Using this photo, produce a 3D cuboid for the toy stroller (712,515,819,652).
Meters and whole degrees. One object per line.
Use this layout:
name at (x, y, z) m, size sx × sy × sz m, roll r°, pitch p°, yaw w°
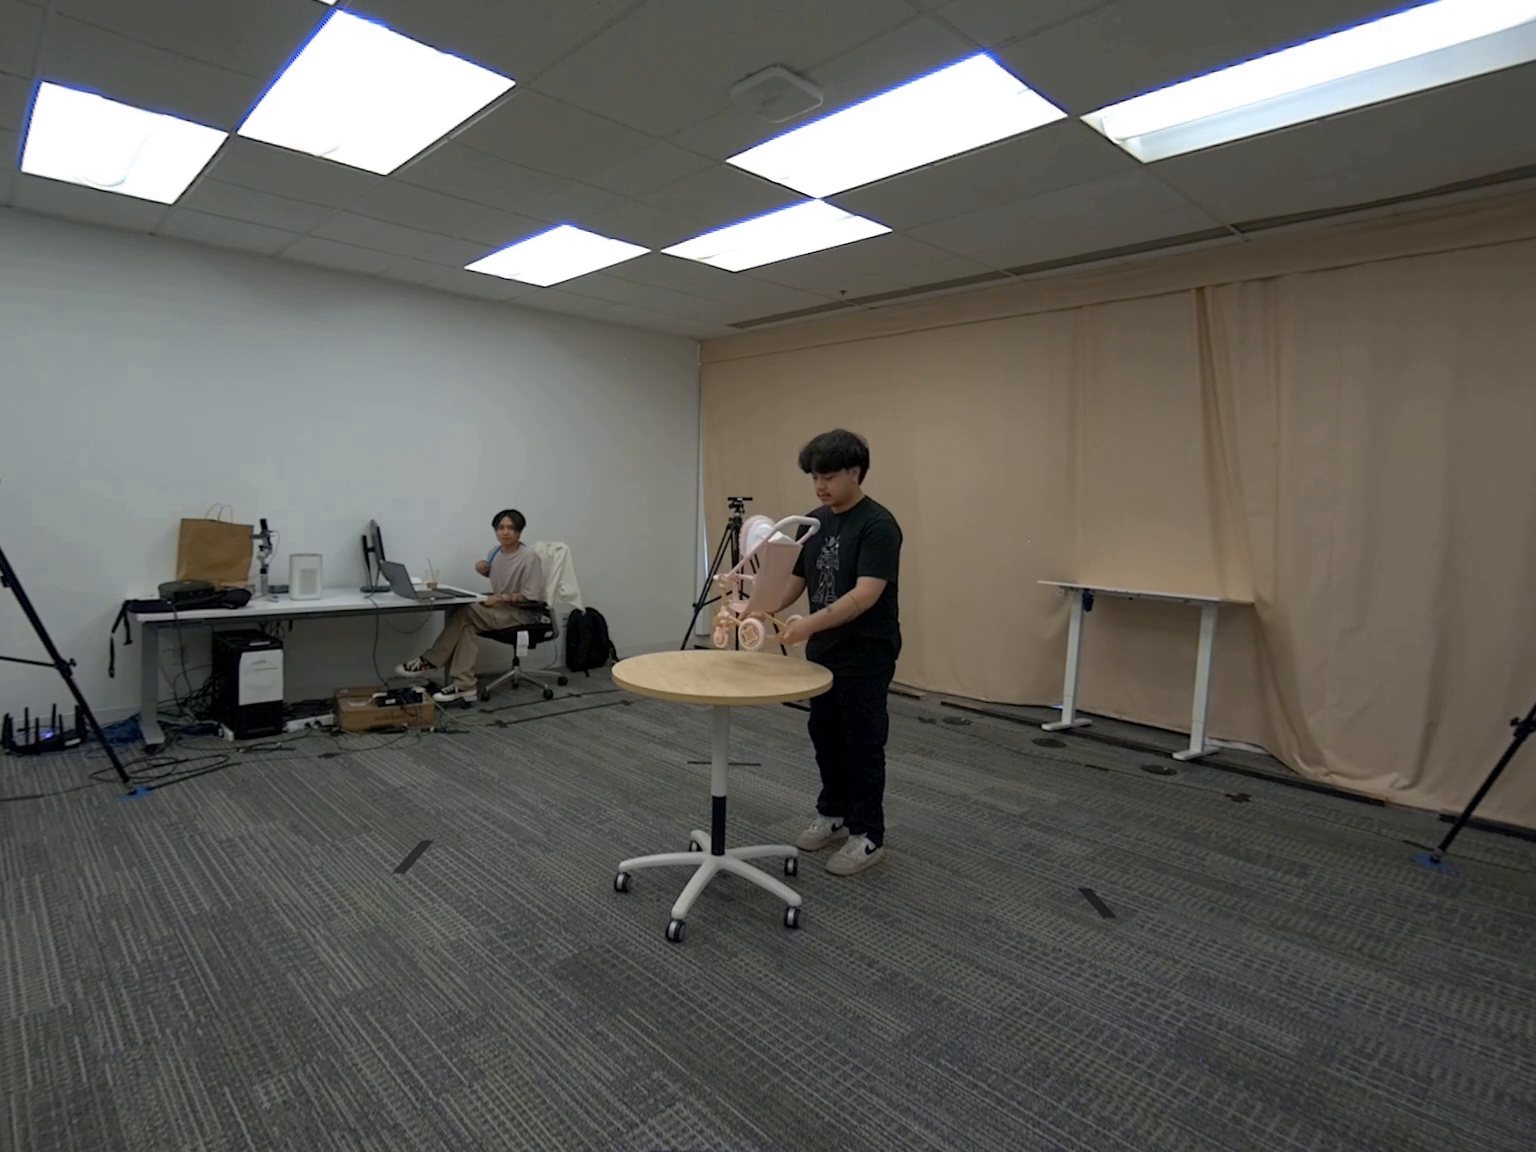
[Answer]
toy stroller at (-0.037, 0.030, 2.961) m, size 0.351 × 0.533 × 0.274 m, roll 15°, pitch 10°, yaw 43°
